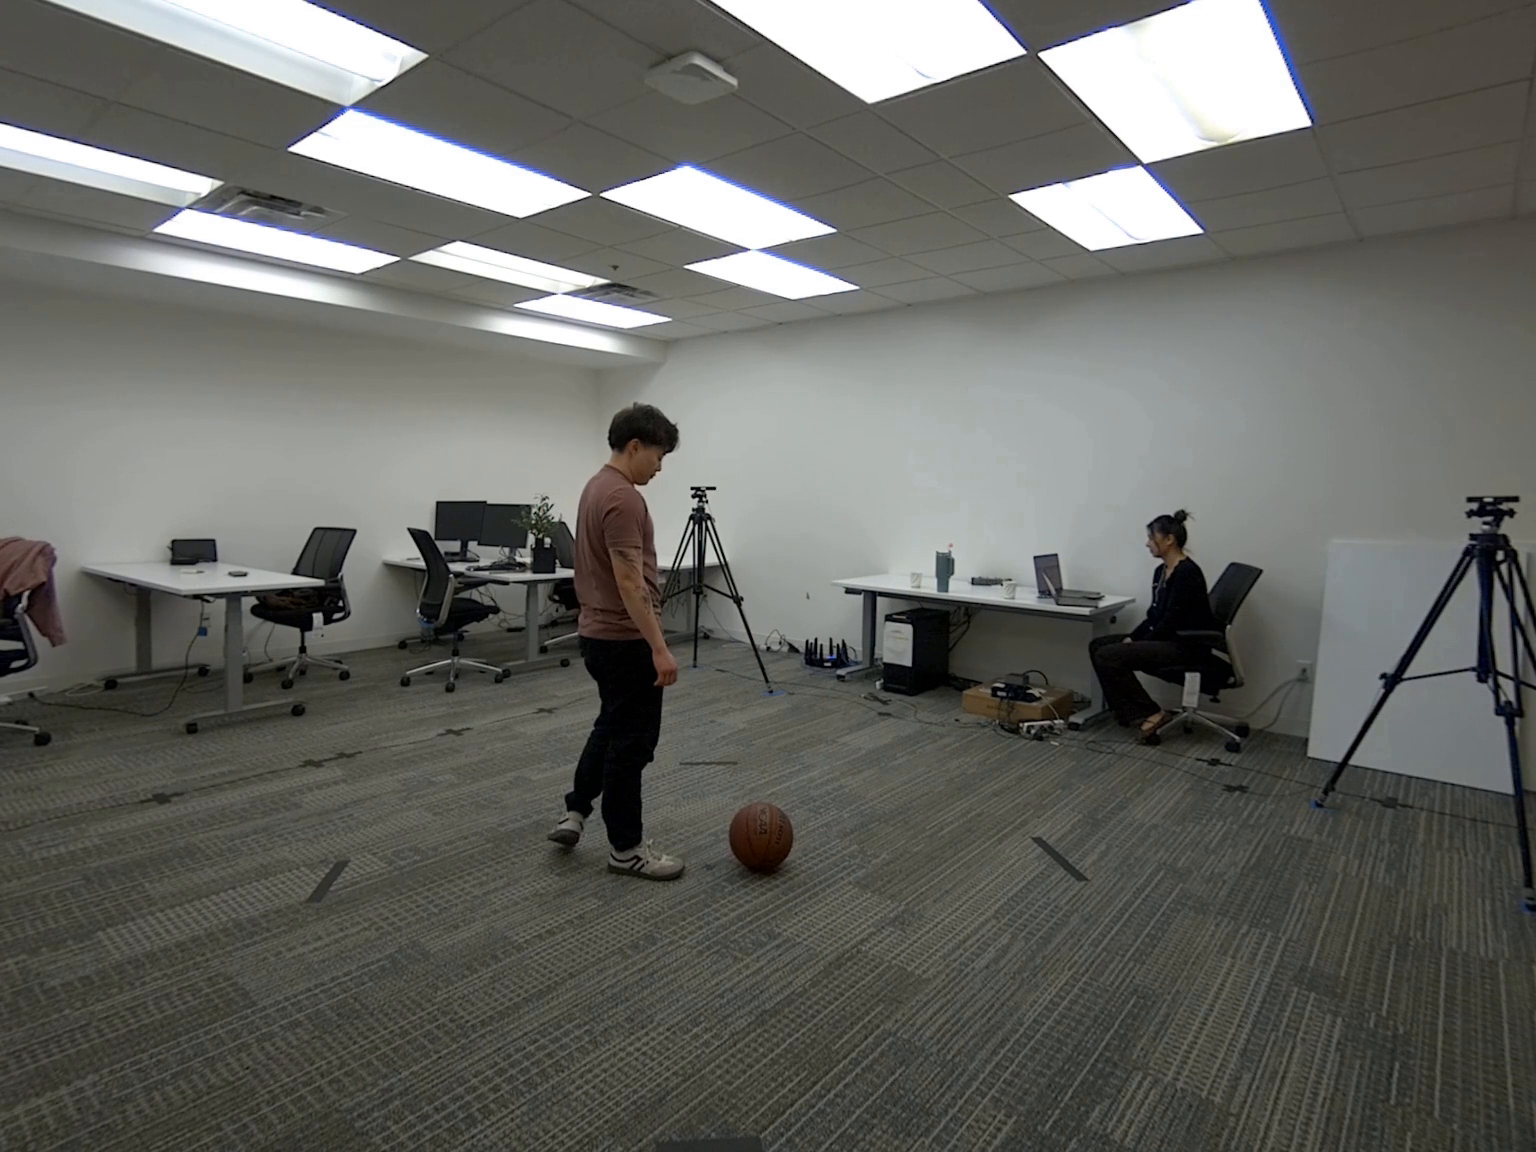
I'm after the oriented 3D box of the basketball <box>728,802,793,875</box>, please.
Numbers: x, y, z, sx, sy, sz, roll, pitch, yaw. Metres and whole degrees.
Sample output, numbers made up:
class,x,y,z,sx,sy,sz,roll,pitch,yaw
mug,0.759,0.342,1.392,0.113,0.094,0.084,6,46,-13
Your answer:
class,x,y,z,sx,sy,sz,roll,pitch,yaw
basketball,-0.033,0.950,3.110,0.235,0.235,0.237,1,4,-2
